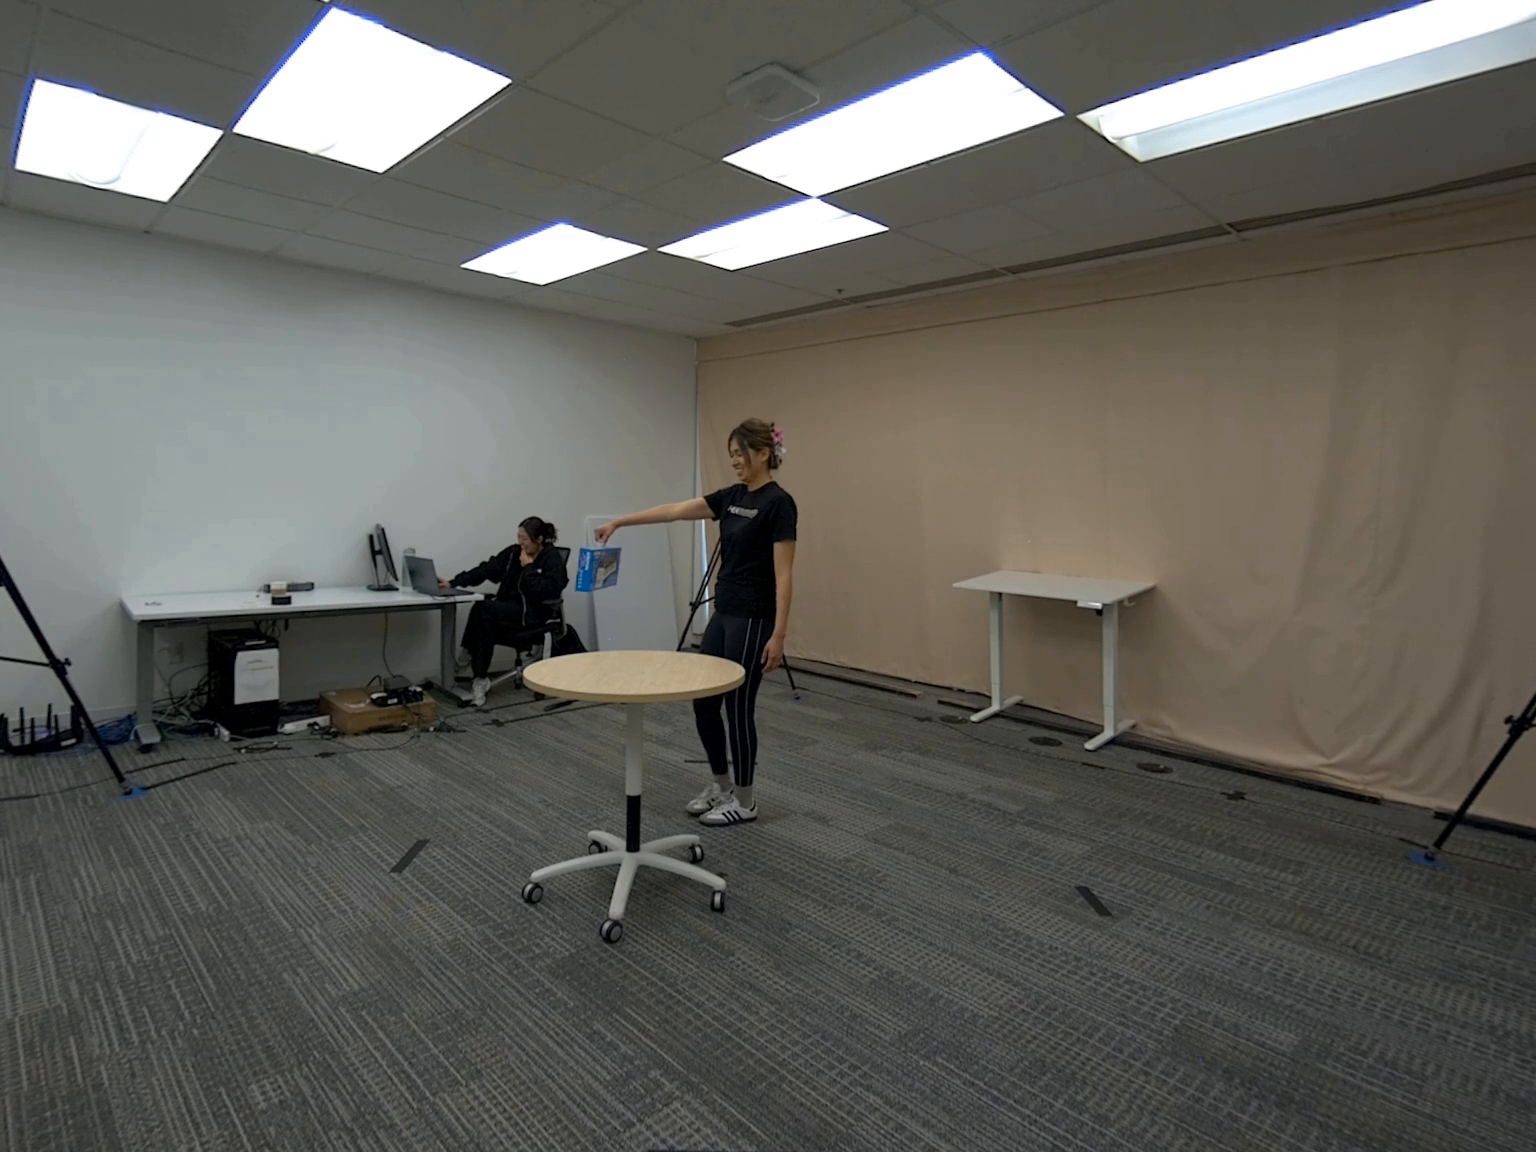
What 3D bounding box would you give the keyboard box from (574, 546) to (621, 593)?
[{"bbox_3d":[-0.710,-0.032,3.555,0.059,0.176,0.435,7,3,5],"label":"keyboard box"}]
